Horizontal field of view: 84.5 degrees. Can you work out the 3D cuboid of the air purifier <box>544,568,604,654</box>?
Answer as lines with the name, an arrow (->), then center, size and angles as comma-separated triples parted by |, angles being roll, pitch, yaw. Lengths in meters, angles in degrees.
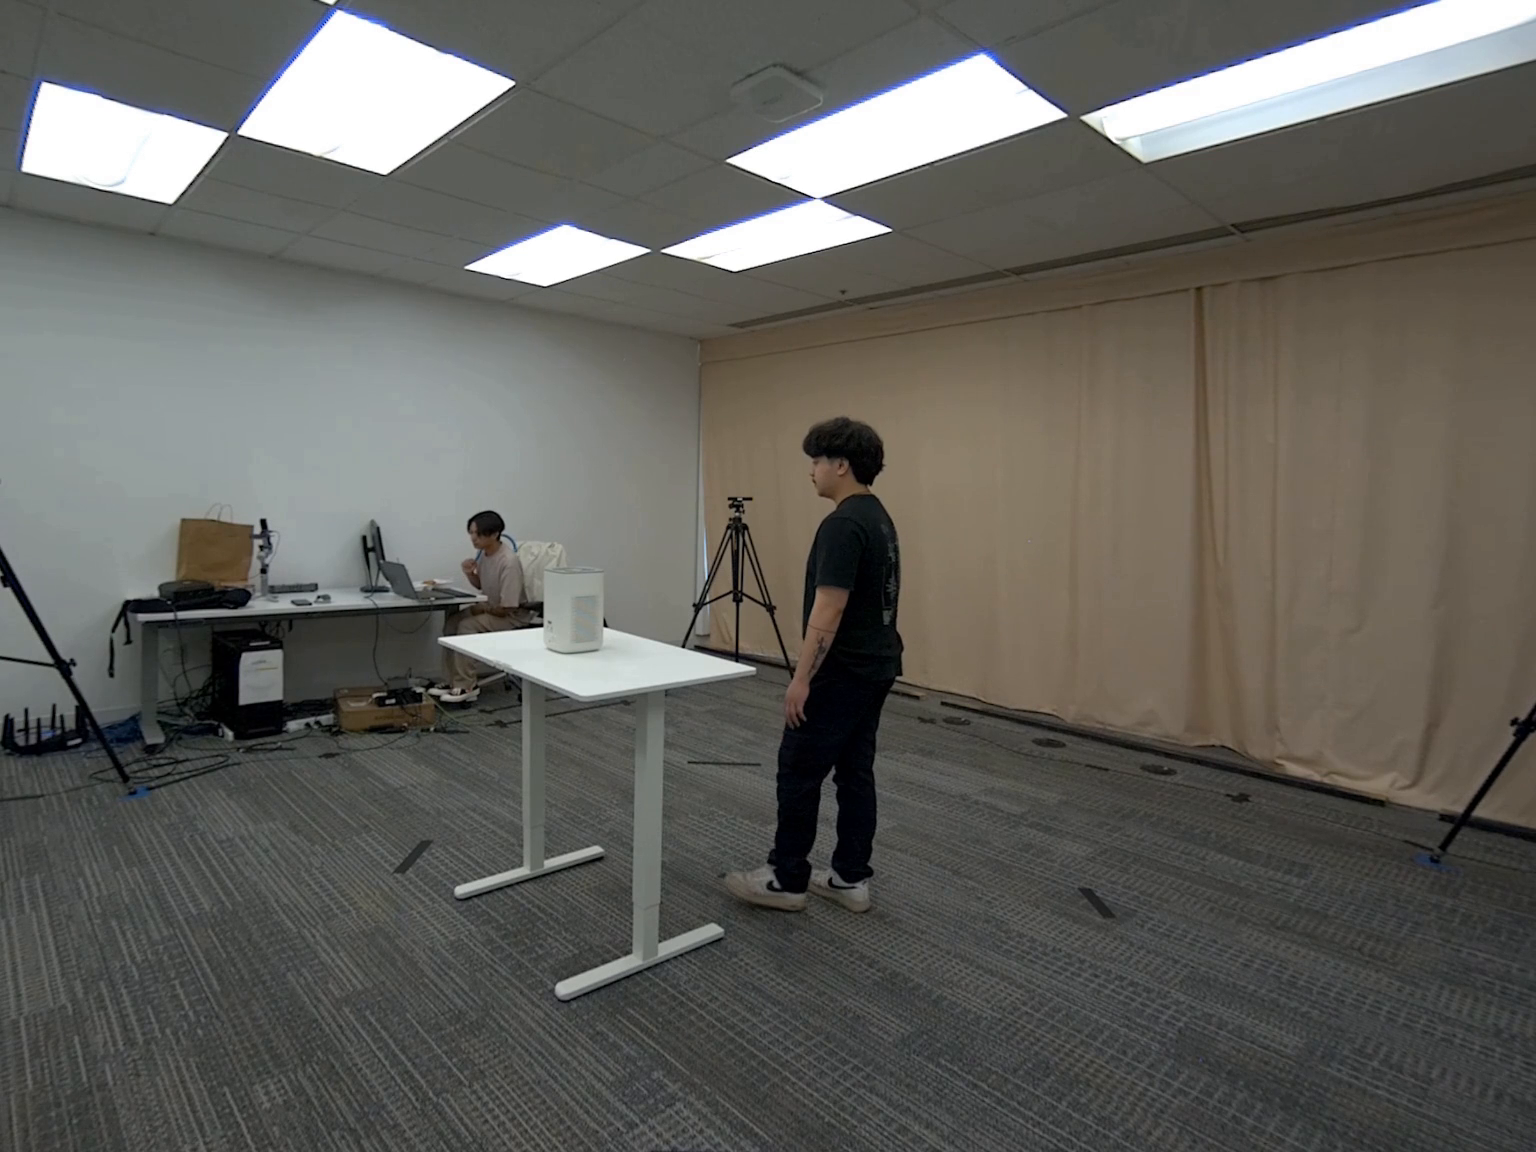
air purifier -> -0.642, 0.113, 2.770 | 0.168, 0.264, 0.175 | -2, 6, -41
